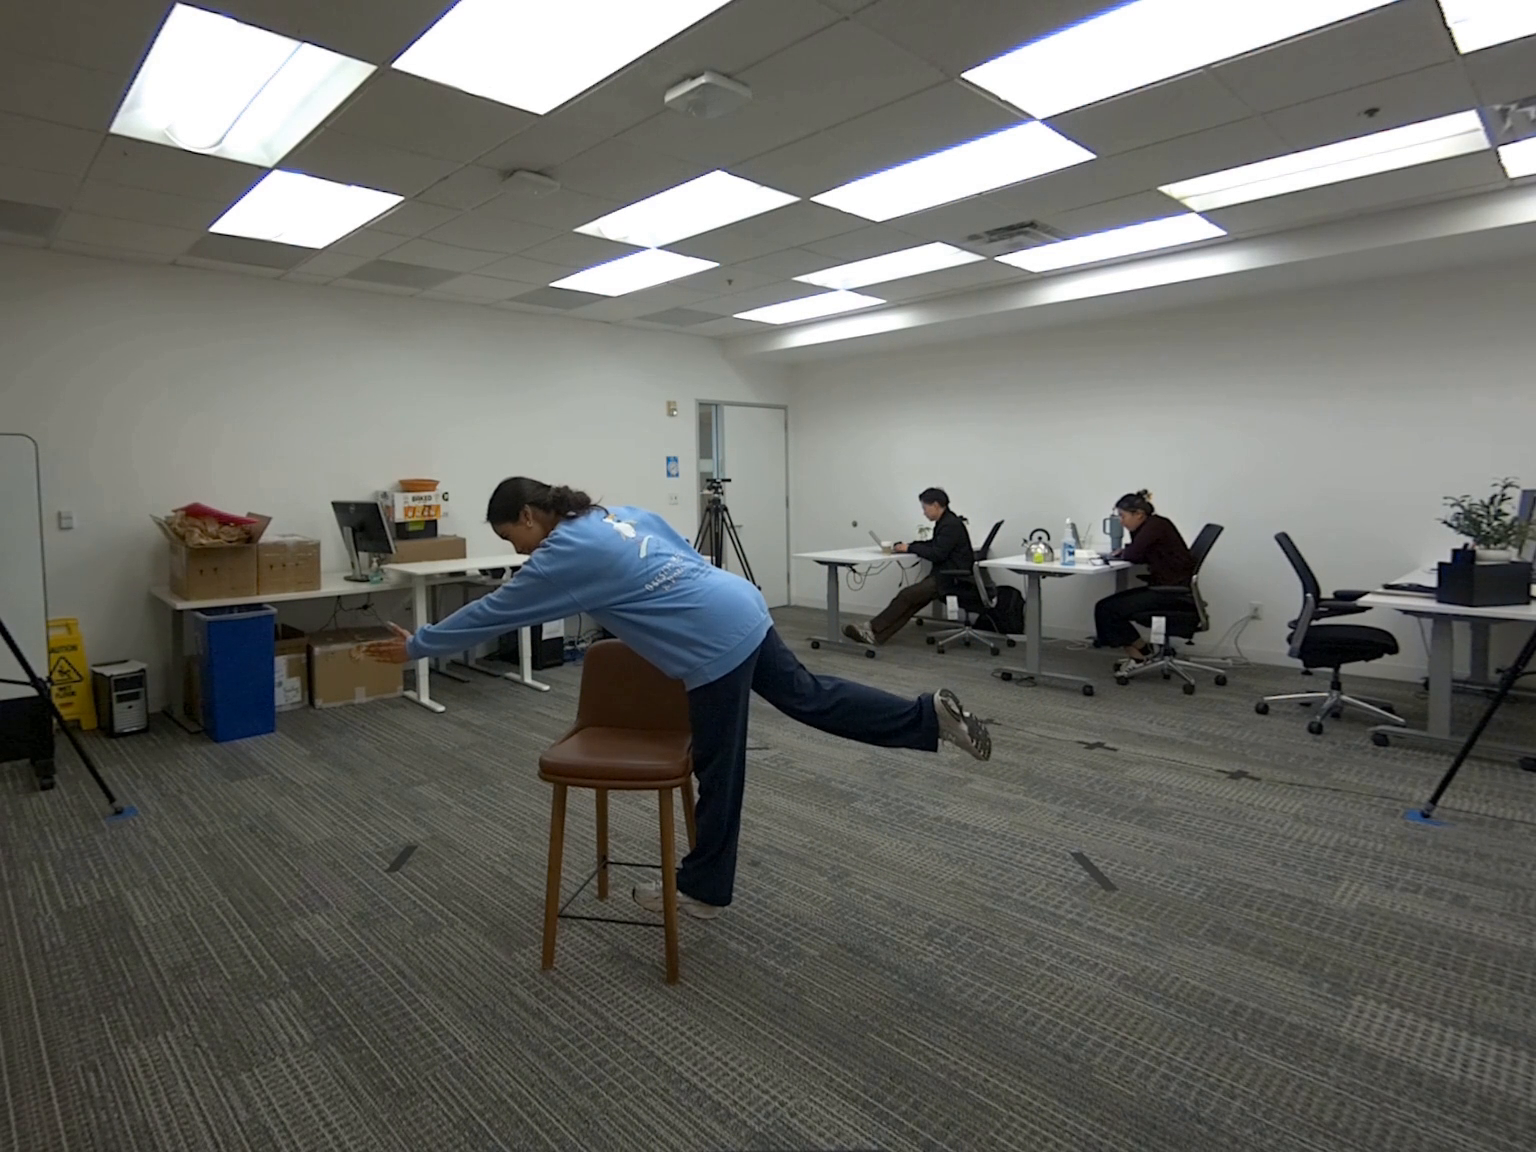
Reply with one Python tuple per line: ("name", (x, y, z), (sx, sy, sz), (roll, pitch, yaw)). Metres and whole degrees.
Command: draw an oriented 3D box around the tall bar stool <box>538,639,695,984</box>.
("tall bar stool", (-0.425, 0.676, 2.606), (0.462, 0.887, 0.463), (0, 3, 12))
